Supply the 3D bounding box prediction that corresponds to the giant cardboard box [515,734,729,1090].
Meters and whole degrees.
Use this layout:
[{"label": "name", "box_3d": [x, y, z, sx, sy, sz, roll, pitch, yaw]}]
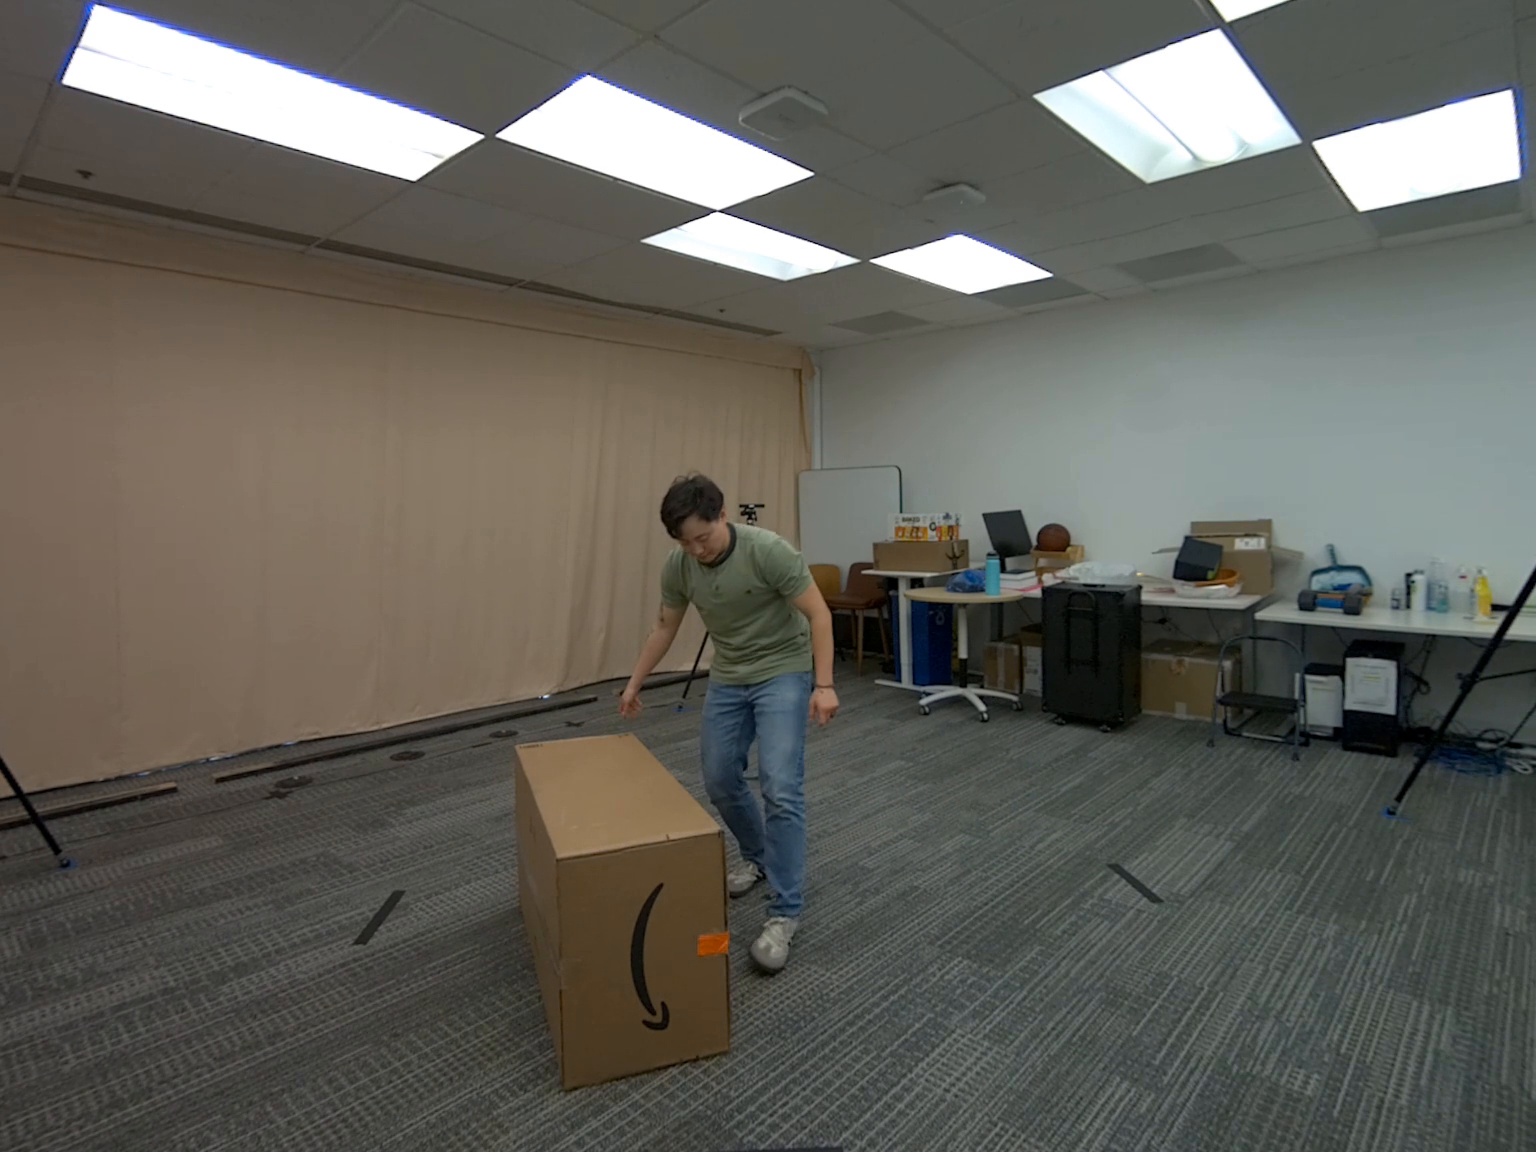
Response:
[{"label": "giant cardboard box", "box_3d": [-0.488, 0.898, 2.535, 0.418, 0.576, 1.049, -2, 4, -21]}]
